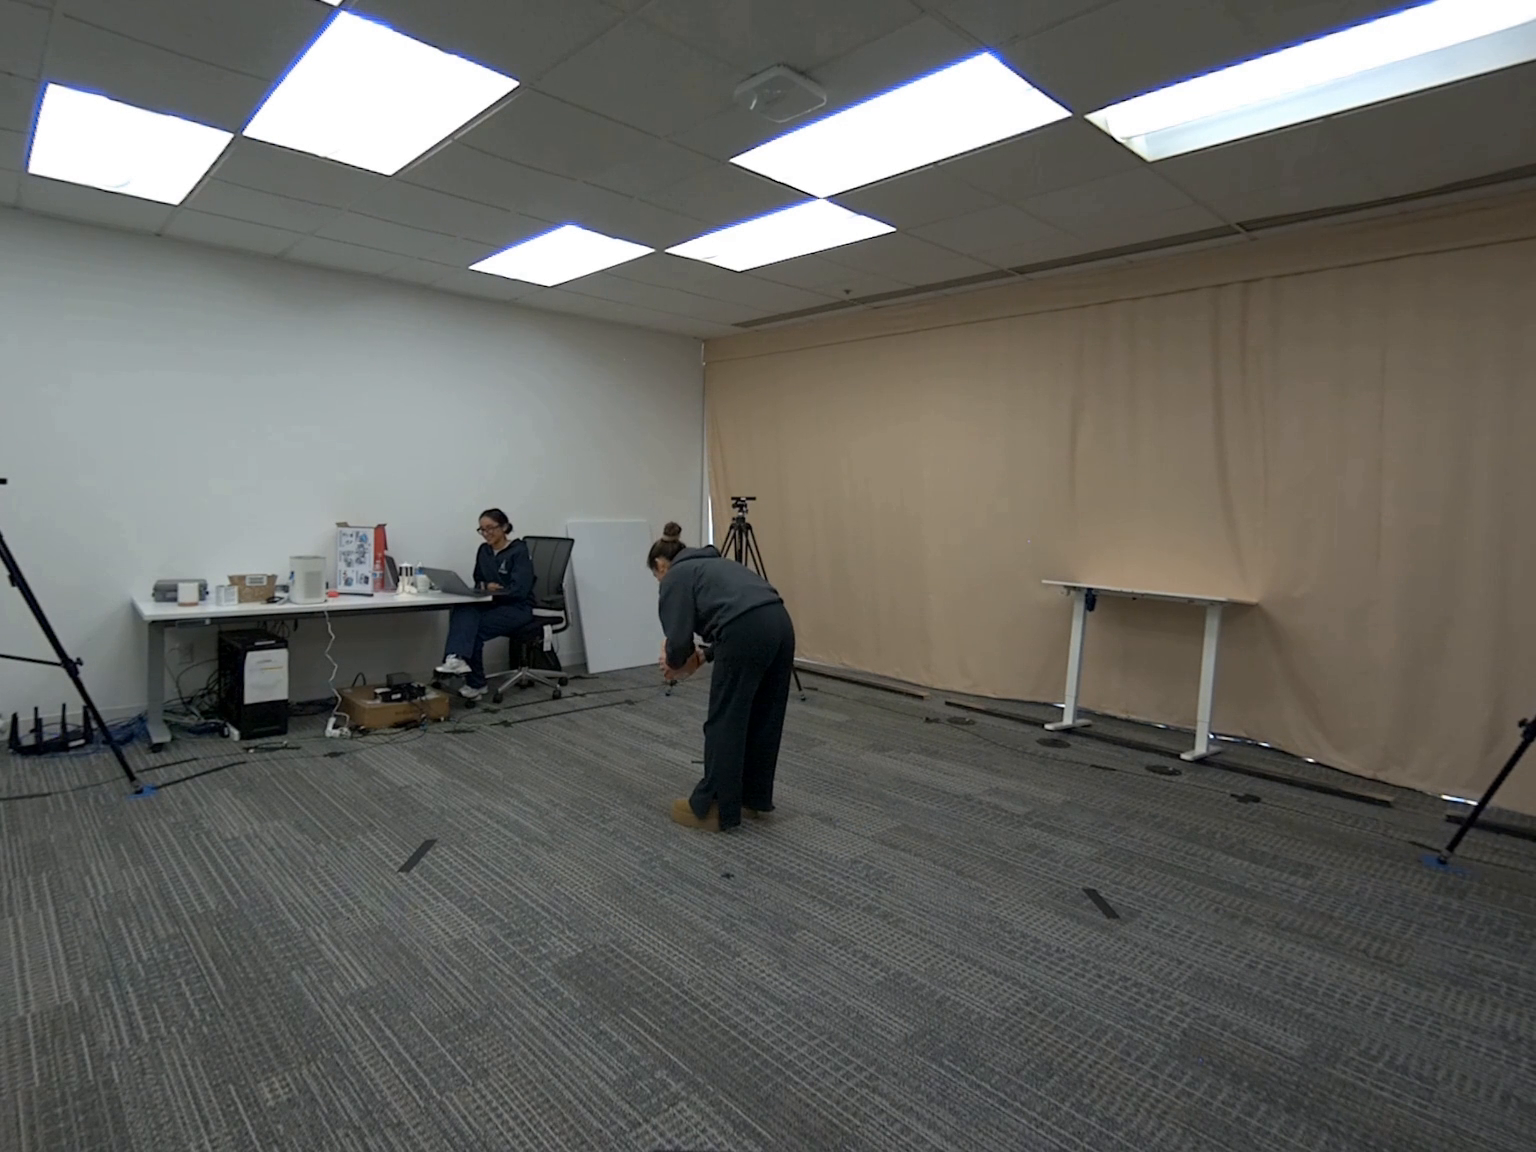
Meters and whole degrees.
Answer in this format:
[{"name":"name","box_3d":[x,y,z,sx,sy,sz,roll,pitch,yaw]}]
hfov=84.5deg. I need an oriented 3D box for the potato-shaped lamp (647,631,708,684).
[{"name":"potato-shaped lamp","box_3d":[-0.417,0.361,3.869,0.160,0.202,0.172,9,-37,-44]}]
